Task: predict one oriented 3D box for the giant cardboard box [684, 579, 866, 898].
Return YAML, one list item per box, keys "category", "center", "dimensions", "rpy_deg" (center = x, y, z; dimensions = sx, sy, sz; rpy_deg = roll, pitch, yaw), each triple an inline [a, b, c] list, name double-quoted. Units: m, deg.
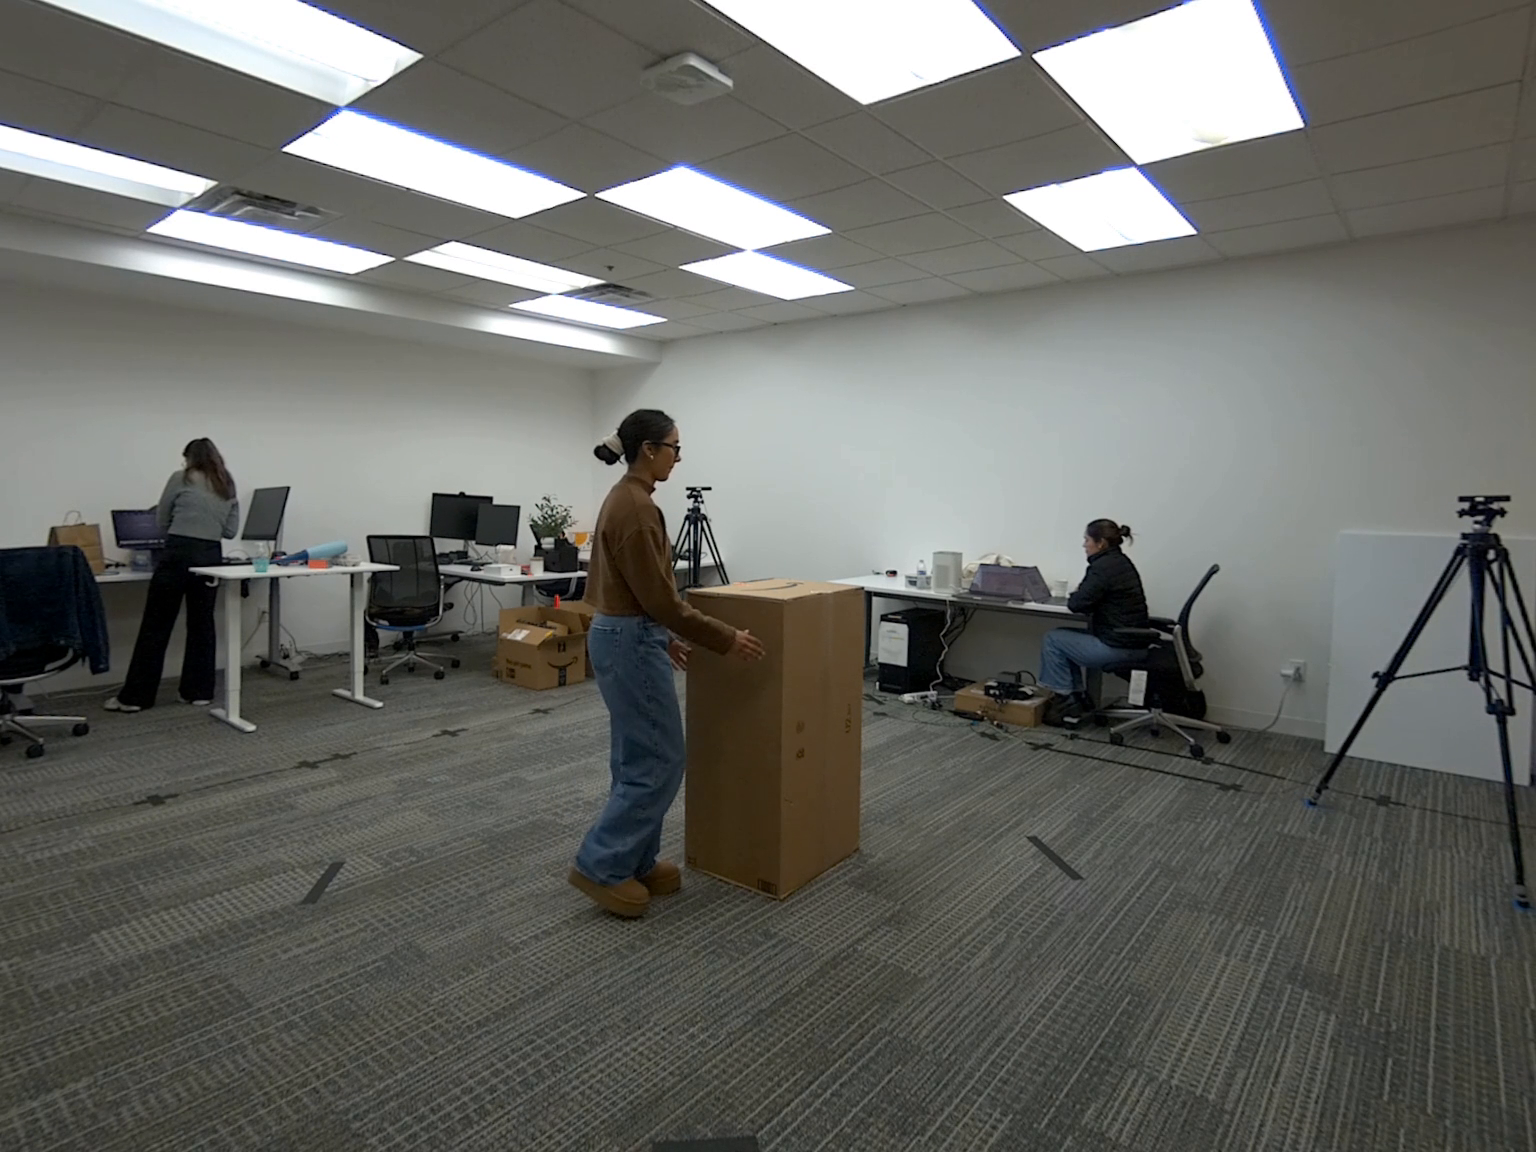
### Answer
- category: "giant cardboard box"
  center: [0.023, 0.554, 3.196]
  dimensions: [0.440, 1.023, 0.561]
  rpy_deg: [3, 4, 36]
